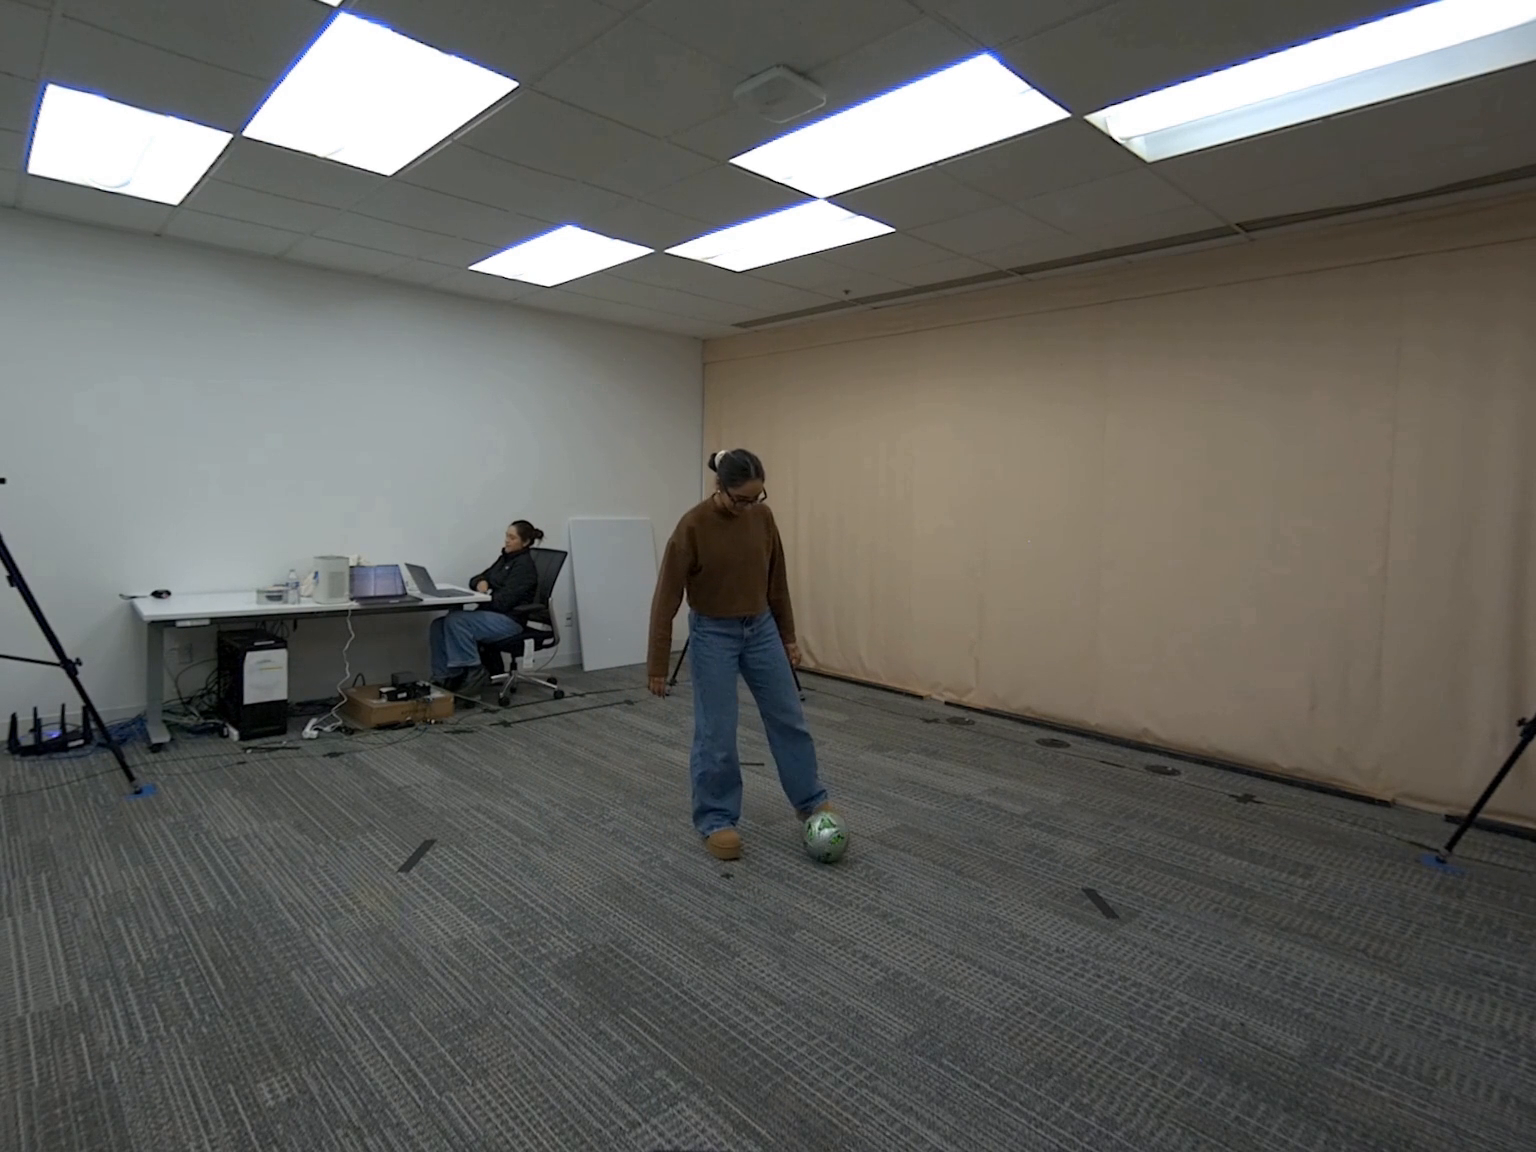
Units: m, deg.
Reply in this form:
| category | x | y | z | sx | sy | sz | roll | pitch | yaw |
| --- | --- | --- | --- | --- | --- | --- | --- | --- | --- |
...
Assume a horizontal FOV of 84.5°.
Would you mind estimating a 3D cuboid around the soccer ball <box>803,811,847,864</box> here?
| category | x | y | z | sx | sy | sz | roll | pitch | yaw |
| --- | --- | --- | --- | --- | --- | --- | --- | --- | --- |
| soccer ball | 0.213 | 1.006 | 3.260 | 0.187 | 0.187 | 0.188 | 1 | 4 | -1 |
